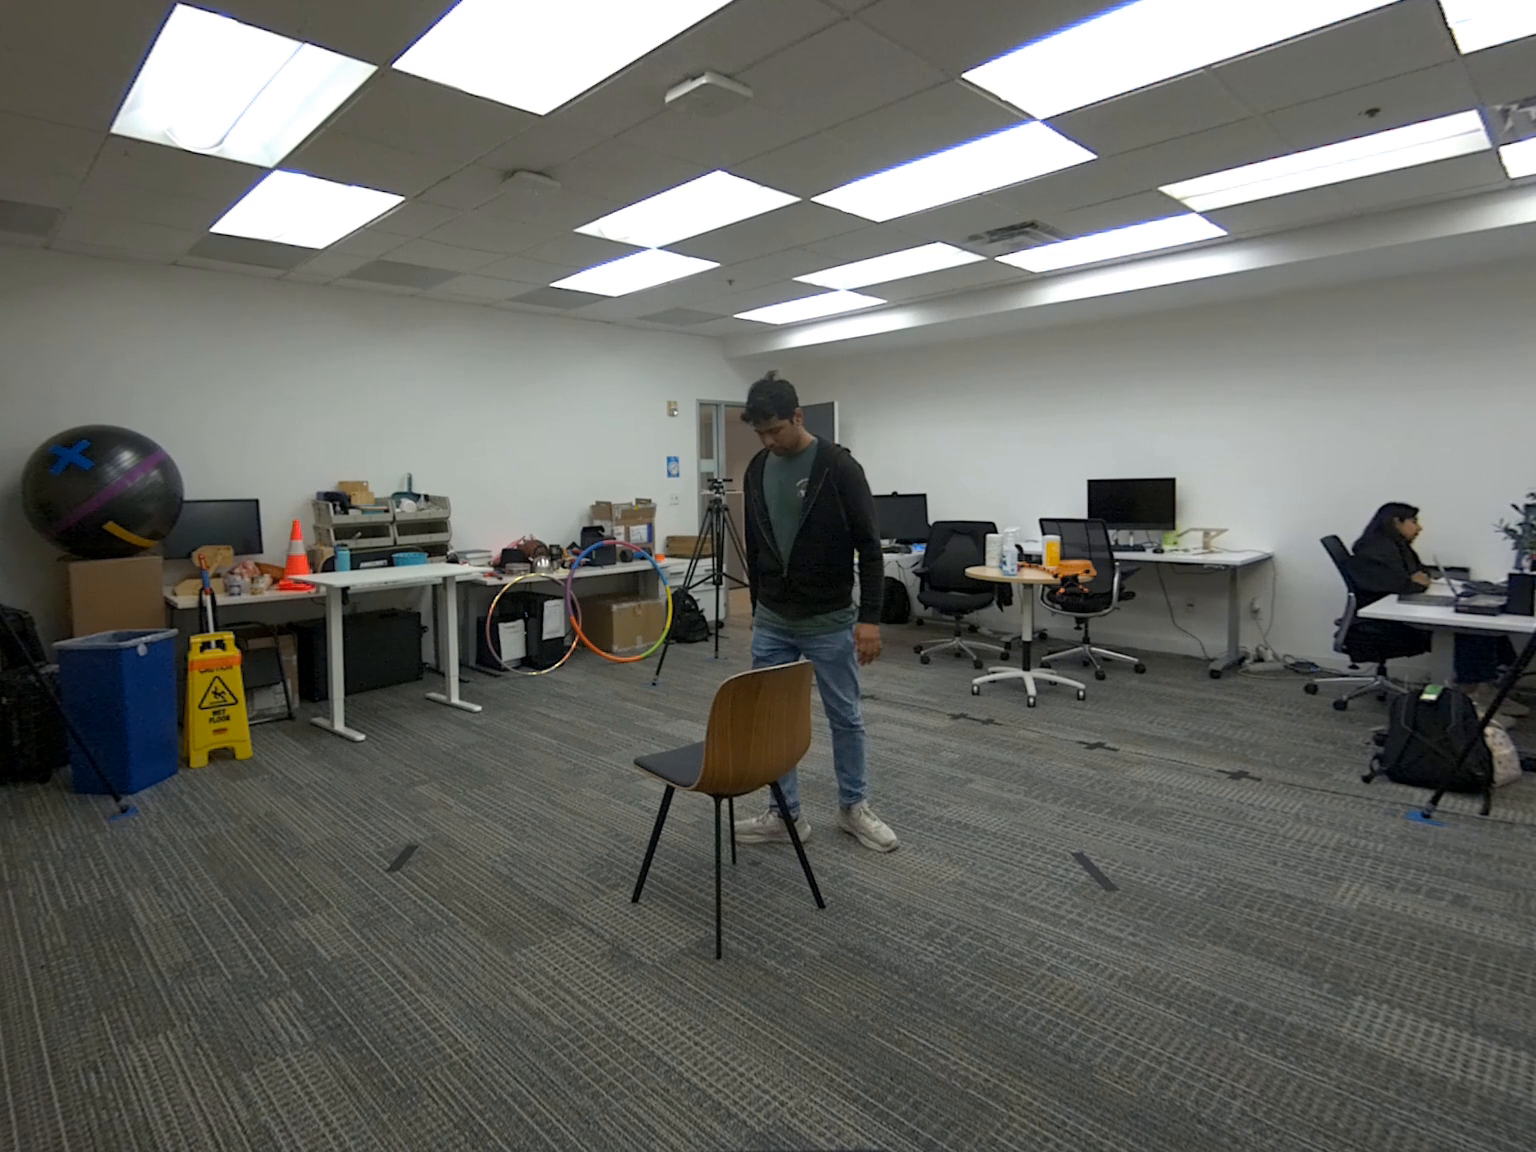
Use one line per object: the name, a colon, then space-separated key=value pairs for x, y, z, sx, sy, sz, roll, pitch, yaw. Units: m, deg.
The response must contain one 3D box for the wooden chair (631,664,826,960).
wooden chair: x=-0.142 y=0.659 z=2.779 sx=0.466 sy=0.871 sz=0.541 roll=-5 pitch=10 yaw=-41
